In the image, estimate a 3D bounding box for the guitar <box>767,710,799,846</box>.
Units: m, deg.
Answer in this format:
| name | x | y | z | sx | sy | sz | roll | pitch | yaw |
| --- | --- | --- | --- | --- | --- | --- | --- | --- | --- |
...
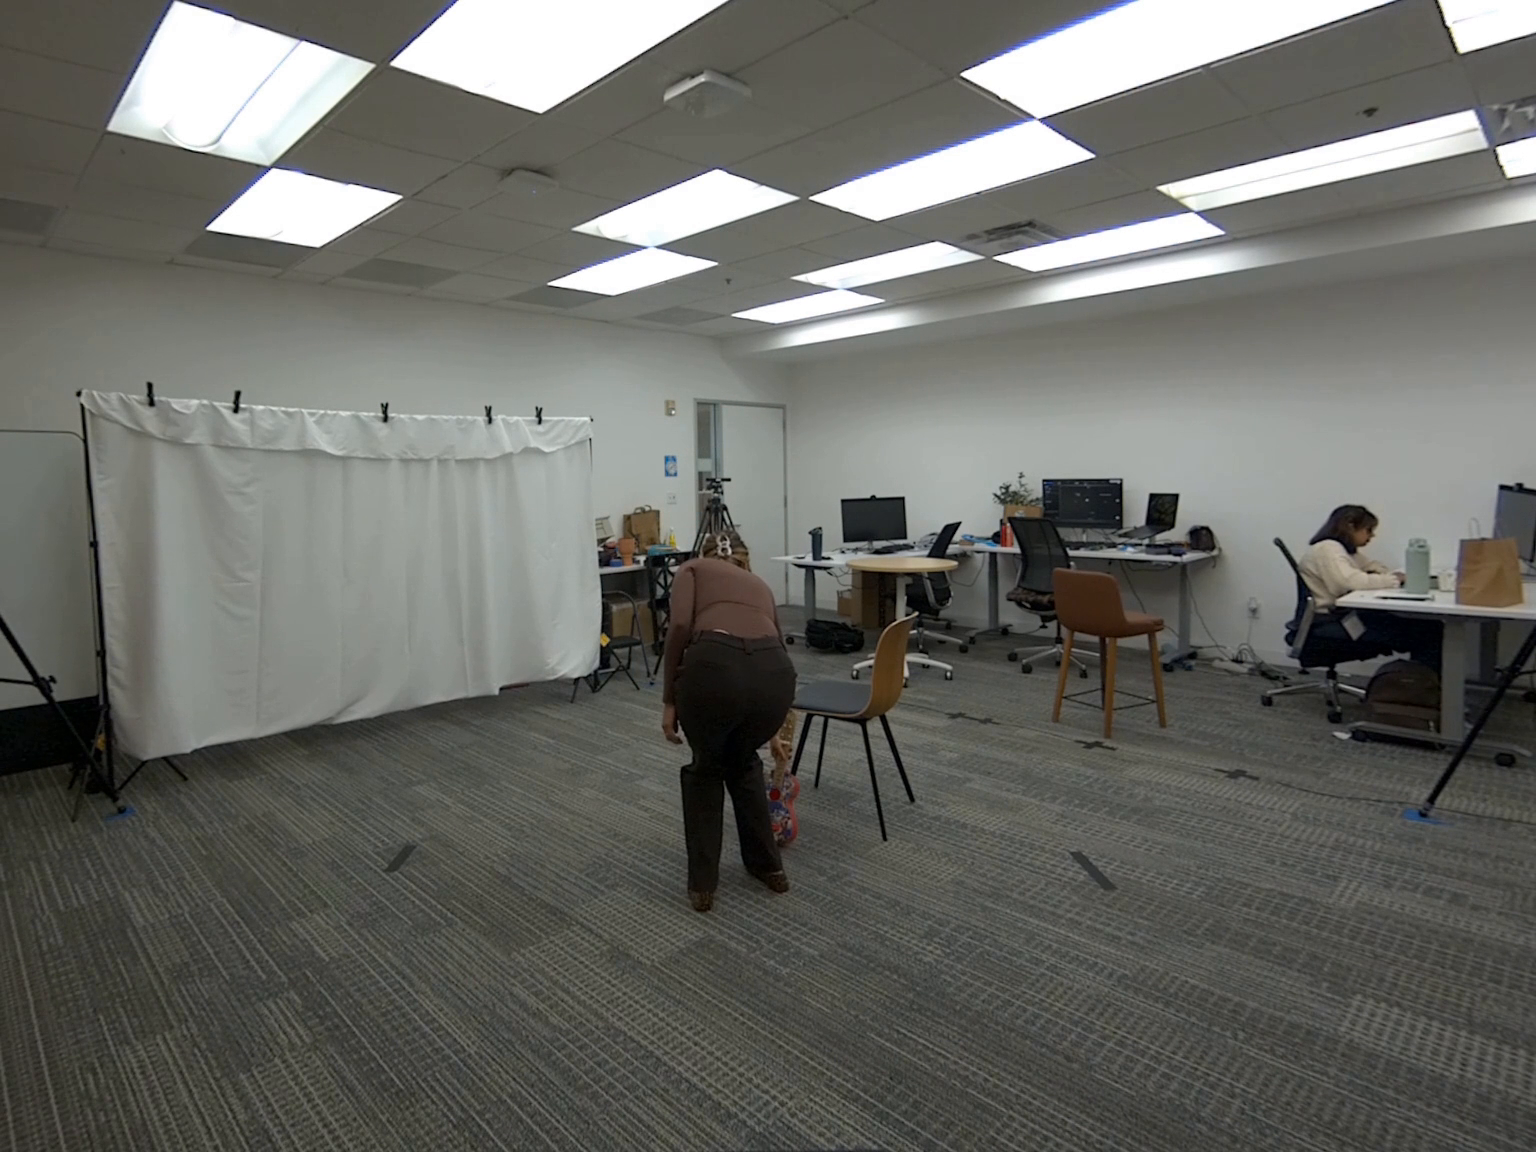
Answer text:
| name | x | y | z | sx | sy | sz | roll | pitch | yaw |
| --- | --- | --- | --- | --- | --- | --- | --- | --- | --- |
| guitar | 0.075 | 0.790 | 3.311 | 0.198 | 0.501 | 0.068 | 13 | -16 | 26 |
